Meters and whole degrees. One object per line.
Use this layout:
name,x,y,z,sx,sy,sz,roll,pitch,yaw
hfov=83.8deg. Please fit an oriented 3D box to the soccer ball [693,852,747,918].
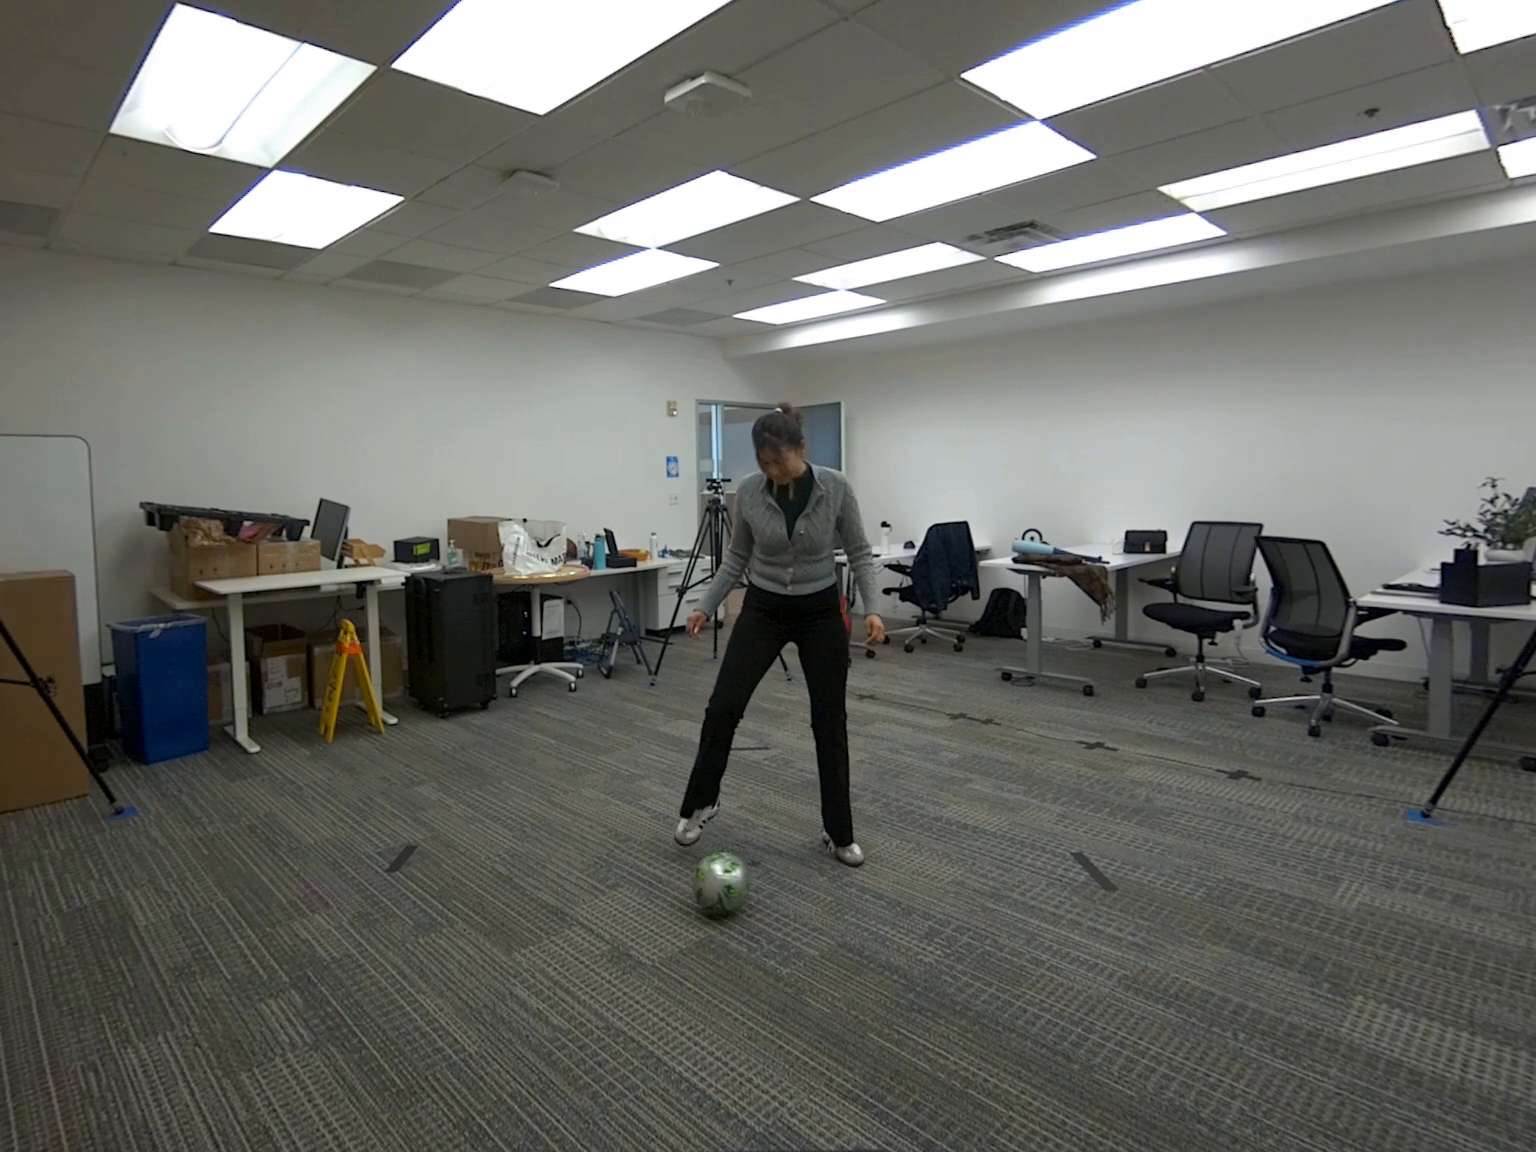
soccer ball,-0.143,0.993,2.760,0.187,0.187,0.188,-1,5,-2
